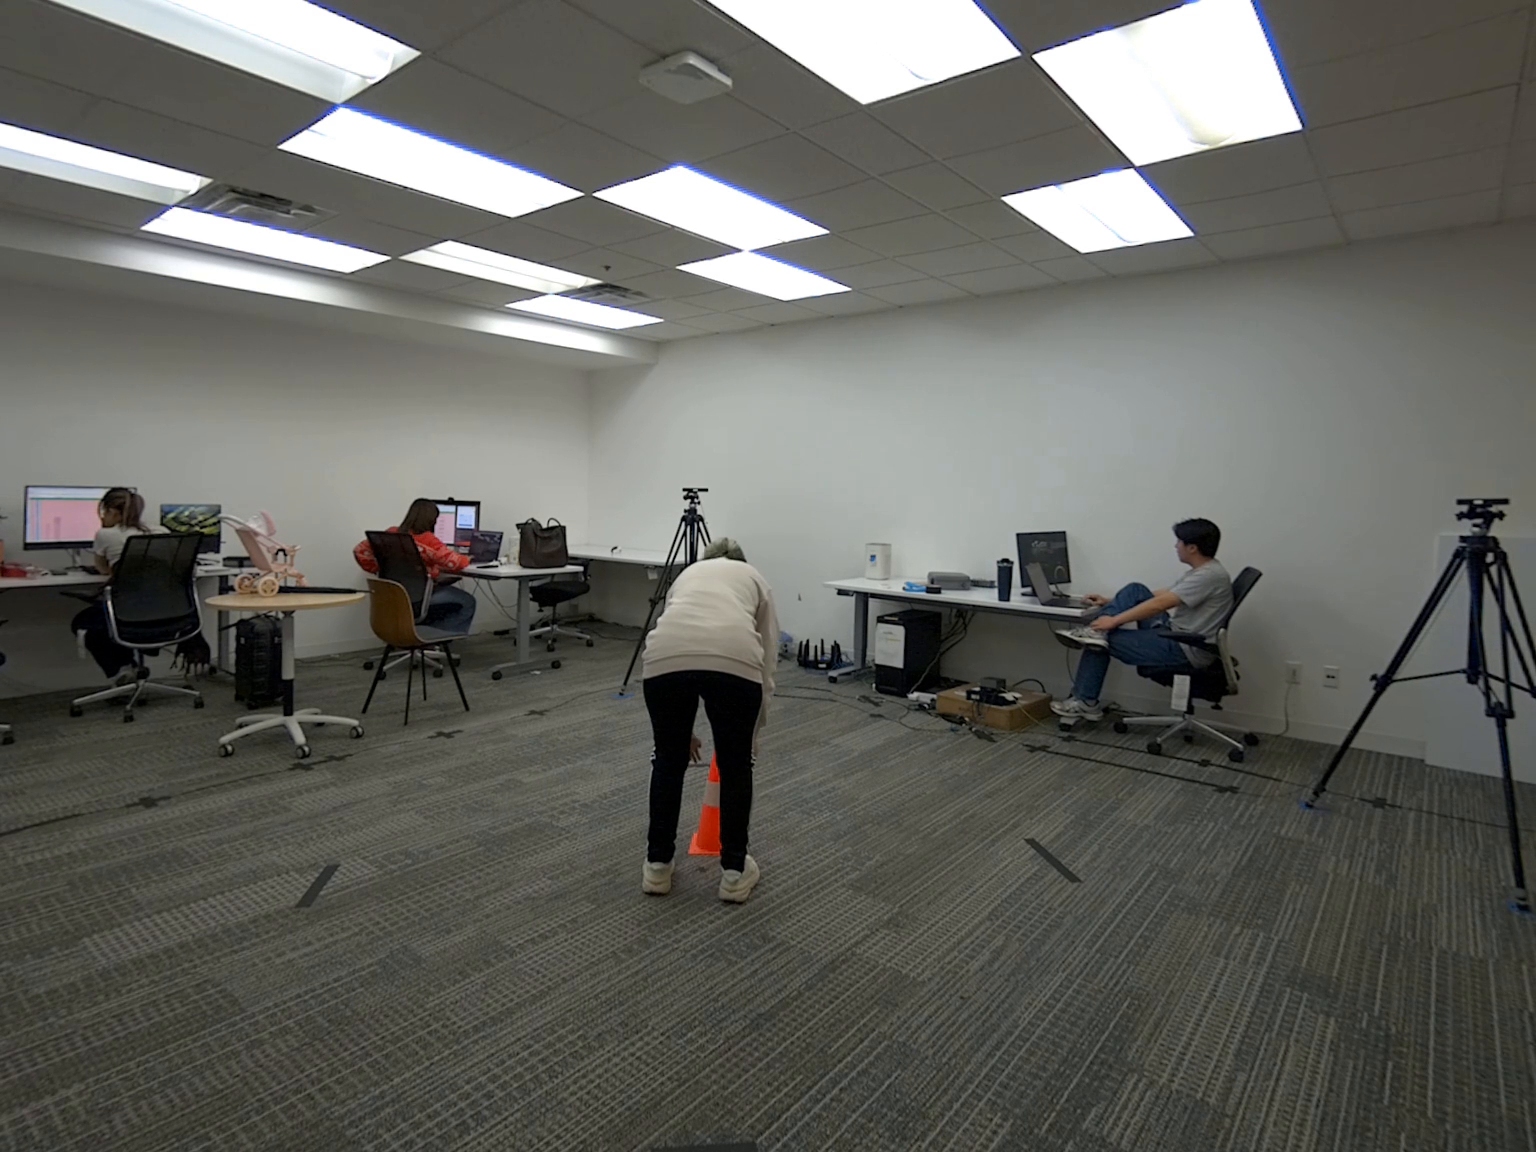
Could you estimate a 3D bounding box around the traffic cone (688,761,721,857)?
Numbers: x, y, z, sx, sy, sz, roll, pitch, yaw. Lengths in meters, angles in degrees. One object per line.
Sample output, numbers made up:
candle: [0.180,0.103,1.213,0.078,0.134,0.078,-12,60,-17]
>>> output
traffic cone: [-0.211,0.864,3.323,0.206,0.383,0.203,1,3,3]
